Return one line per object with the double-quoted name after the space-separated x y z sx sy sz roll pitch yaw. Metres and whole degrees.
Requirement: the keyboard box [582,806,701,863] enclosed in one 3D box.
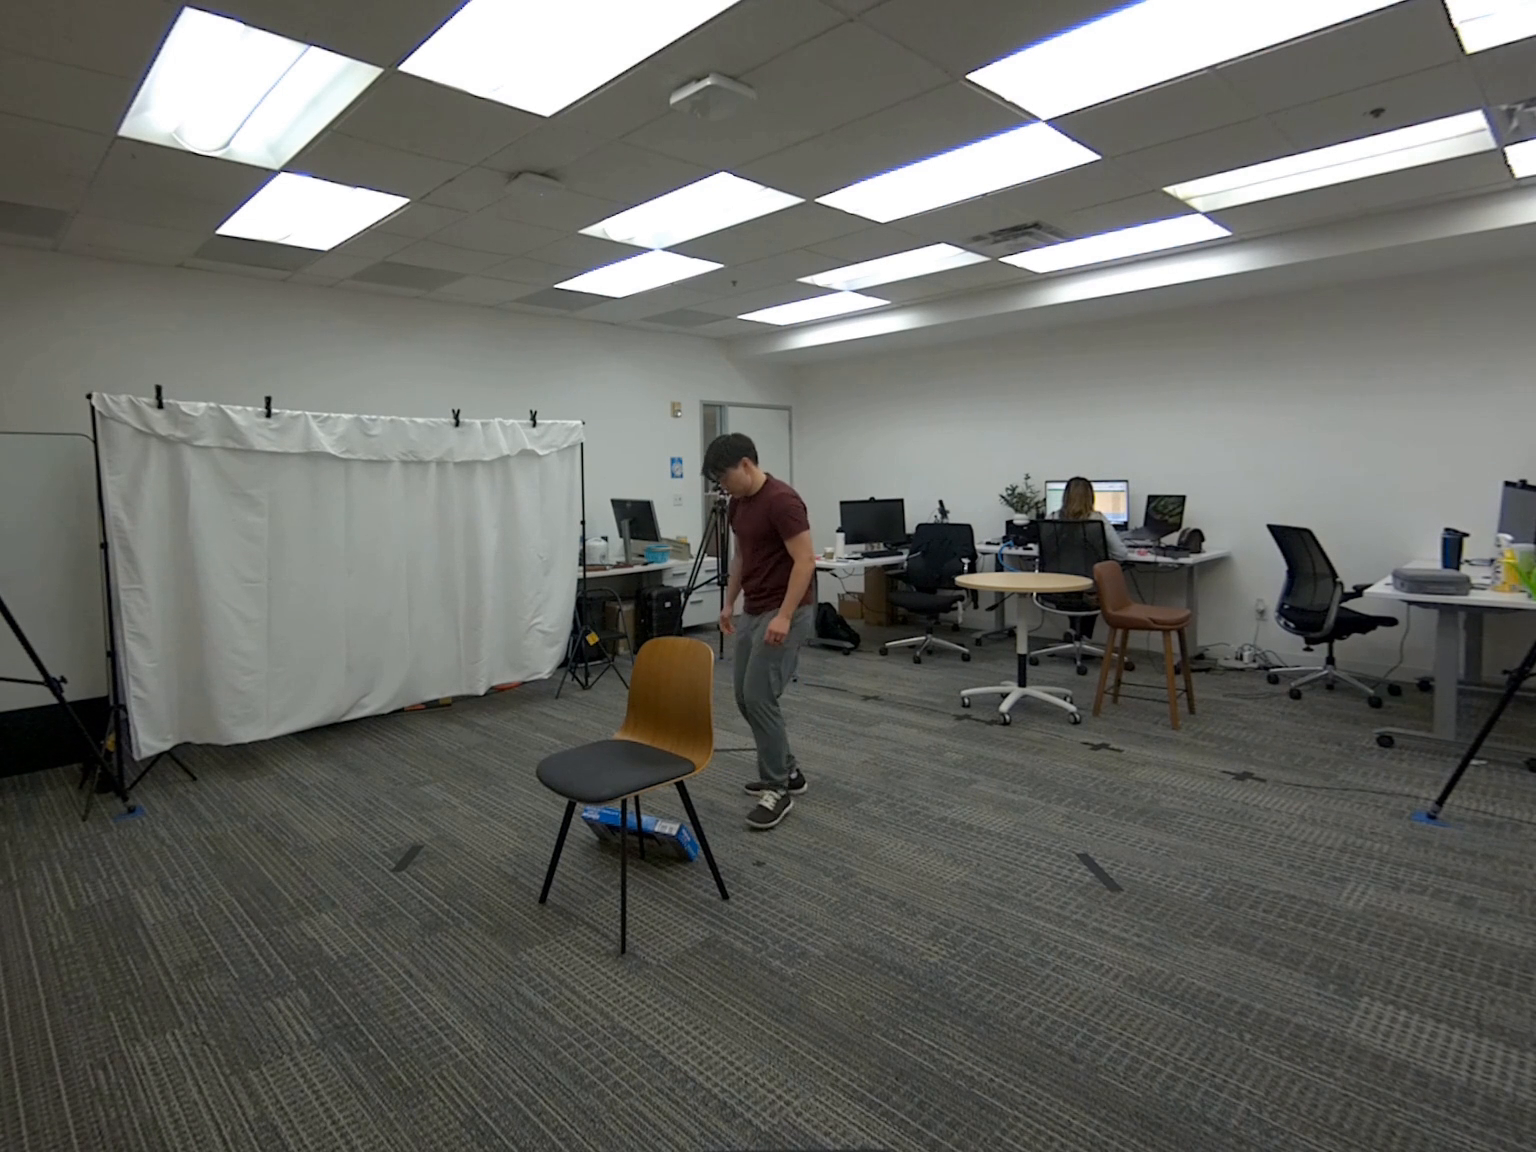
-0.481 0.961 3.211 0.448 0.170 0.060 2 44 28 "keyboard box"
